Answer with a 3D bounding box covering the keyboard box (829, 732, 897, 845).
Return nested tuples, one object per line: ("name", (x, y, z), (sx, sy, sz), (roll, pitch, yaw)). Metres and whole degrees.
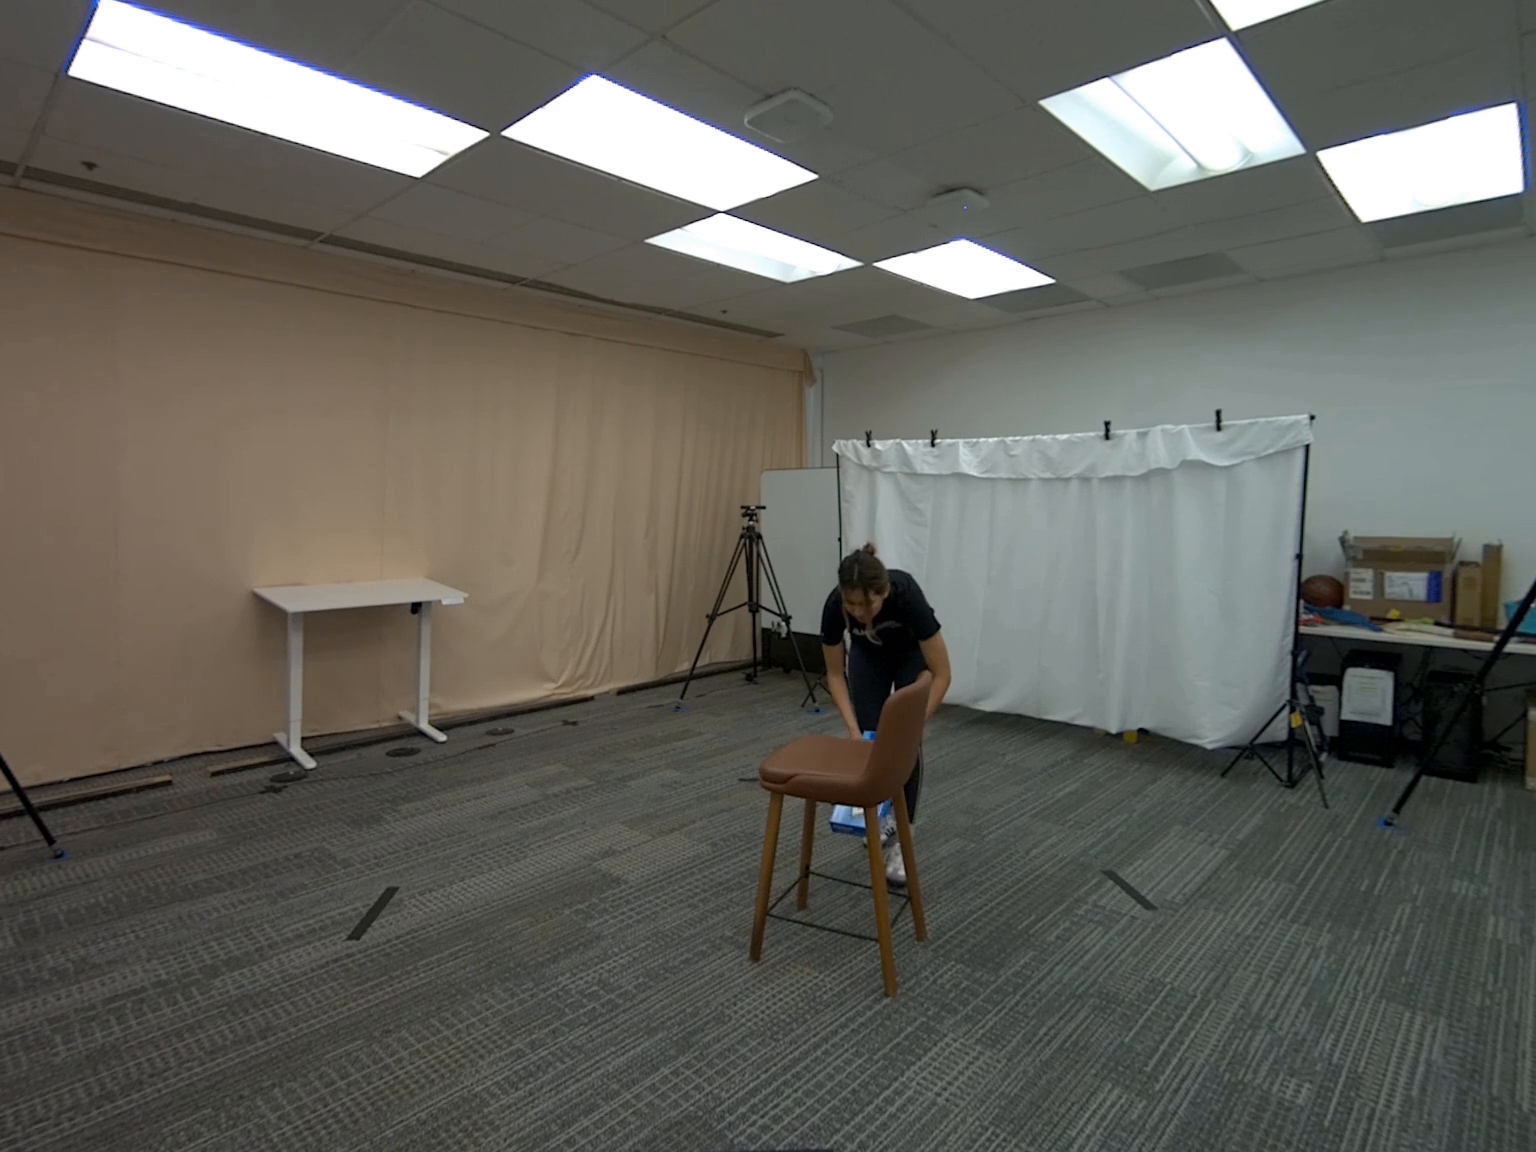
("keyboard box", (0.381, 0.756, 3.077), (0.181, 0.057, 0.436), (-2, 37, 28))
